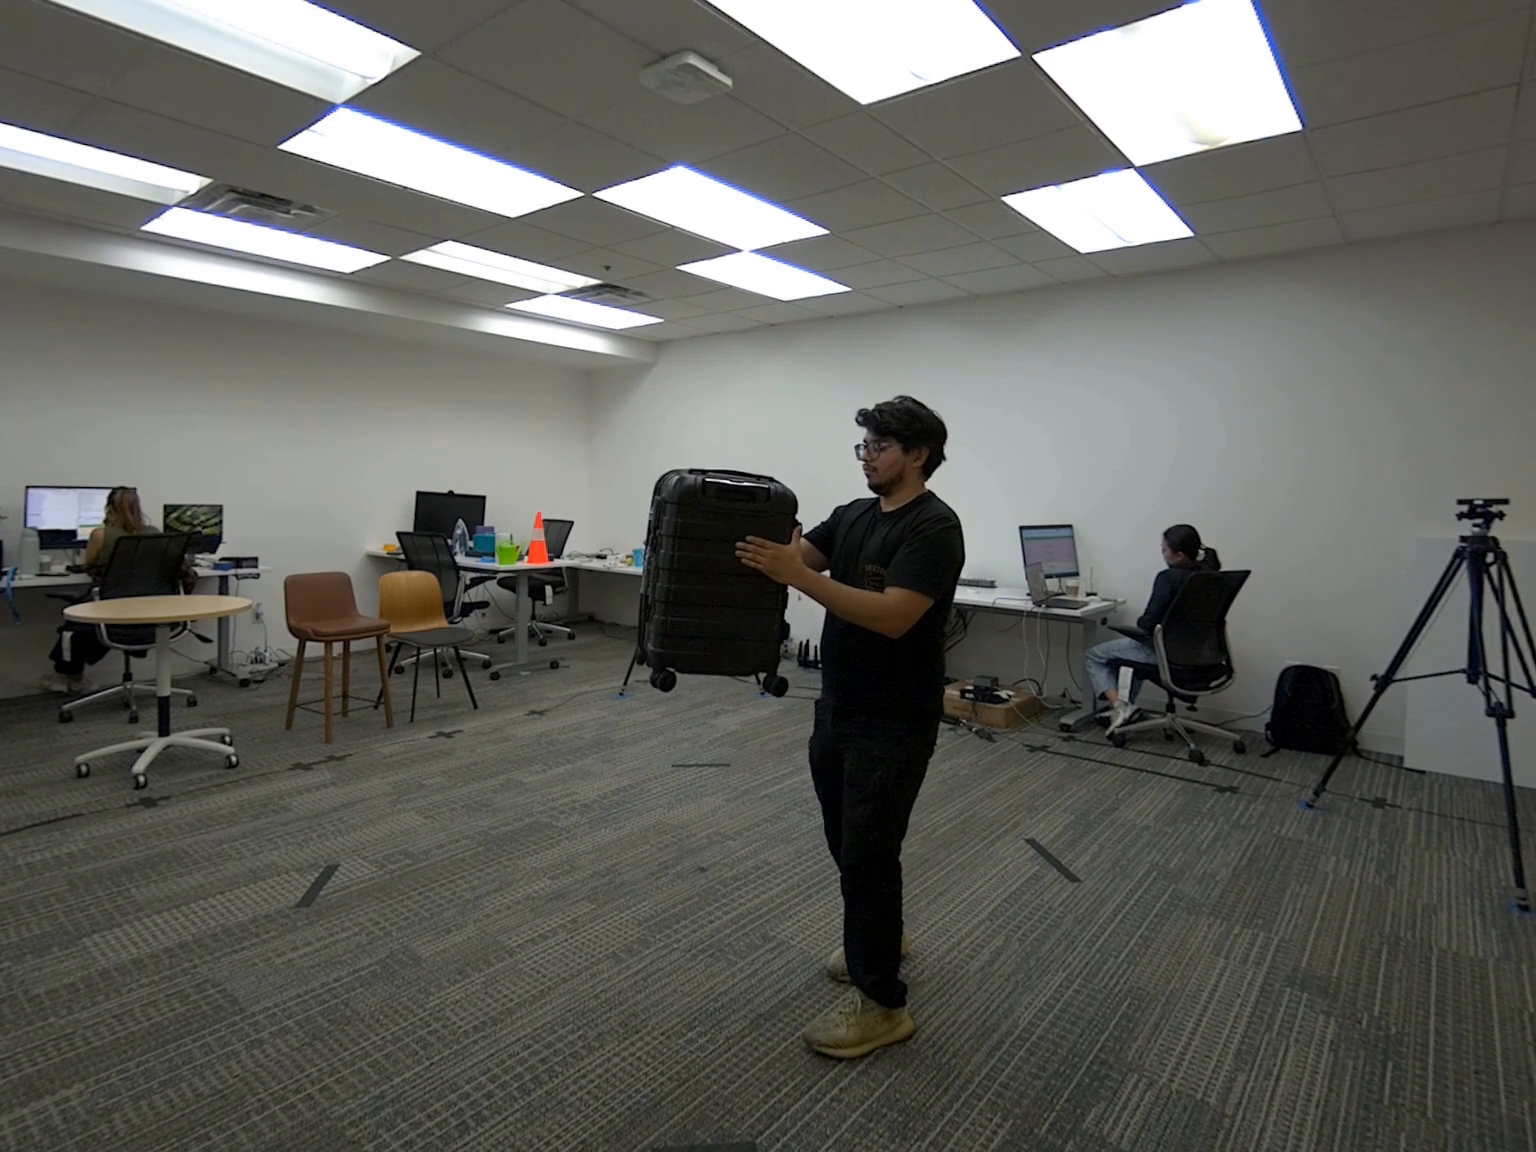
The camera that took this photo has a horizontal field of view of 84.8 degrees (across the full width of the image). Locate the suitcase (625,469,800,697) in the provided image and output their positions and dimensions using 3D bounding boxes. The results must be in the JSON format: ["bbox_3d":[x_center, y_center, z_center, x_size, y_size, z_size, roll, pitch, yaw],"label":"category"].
[{"bbox_3d":[-0.142,-0.002,2.185,0.370,0.546,0.253,5,7,-12],"label":"suitcase"}]
